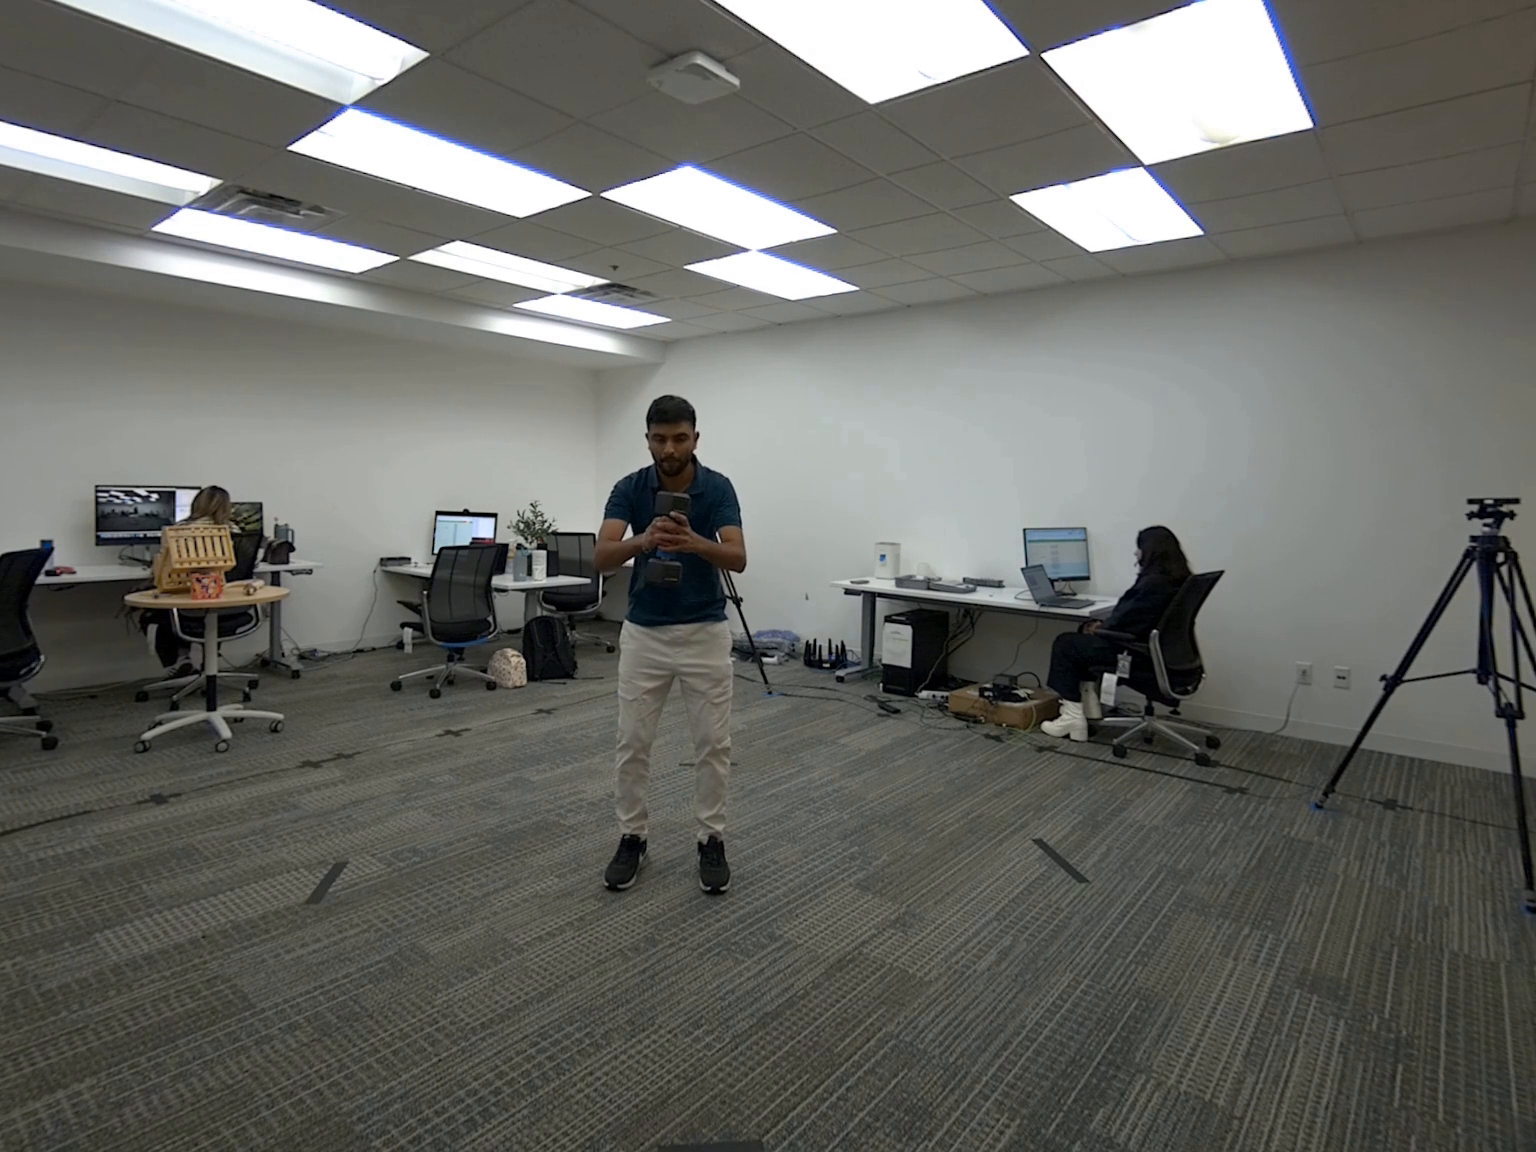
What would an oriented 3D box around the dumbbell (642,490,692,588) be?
[{"bbox_3d":[-0.323,-0.117,2.674,0.126,0.293,0.106,8,1,20],"label":"dumbbell"}]
